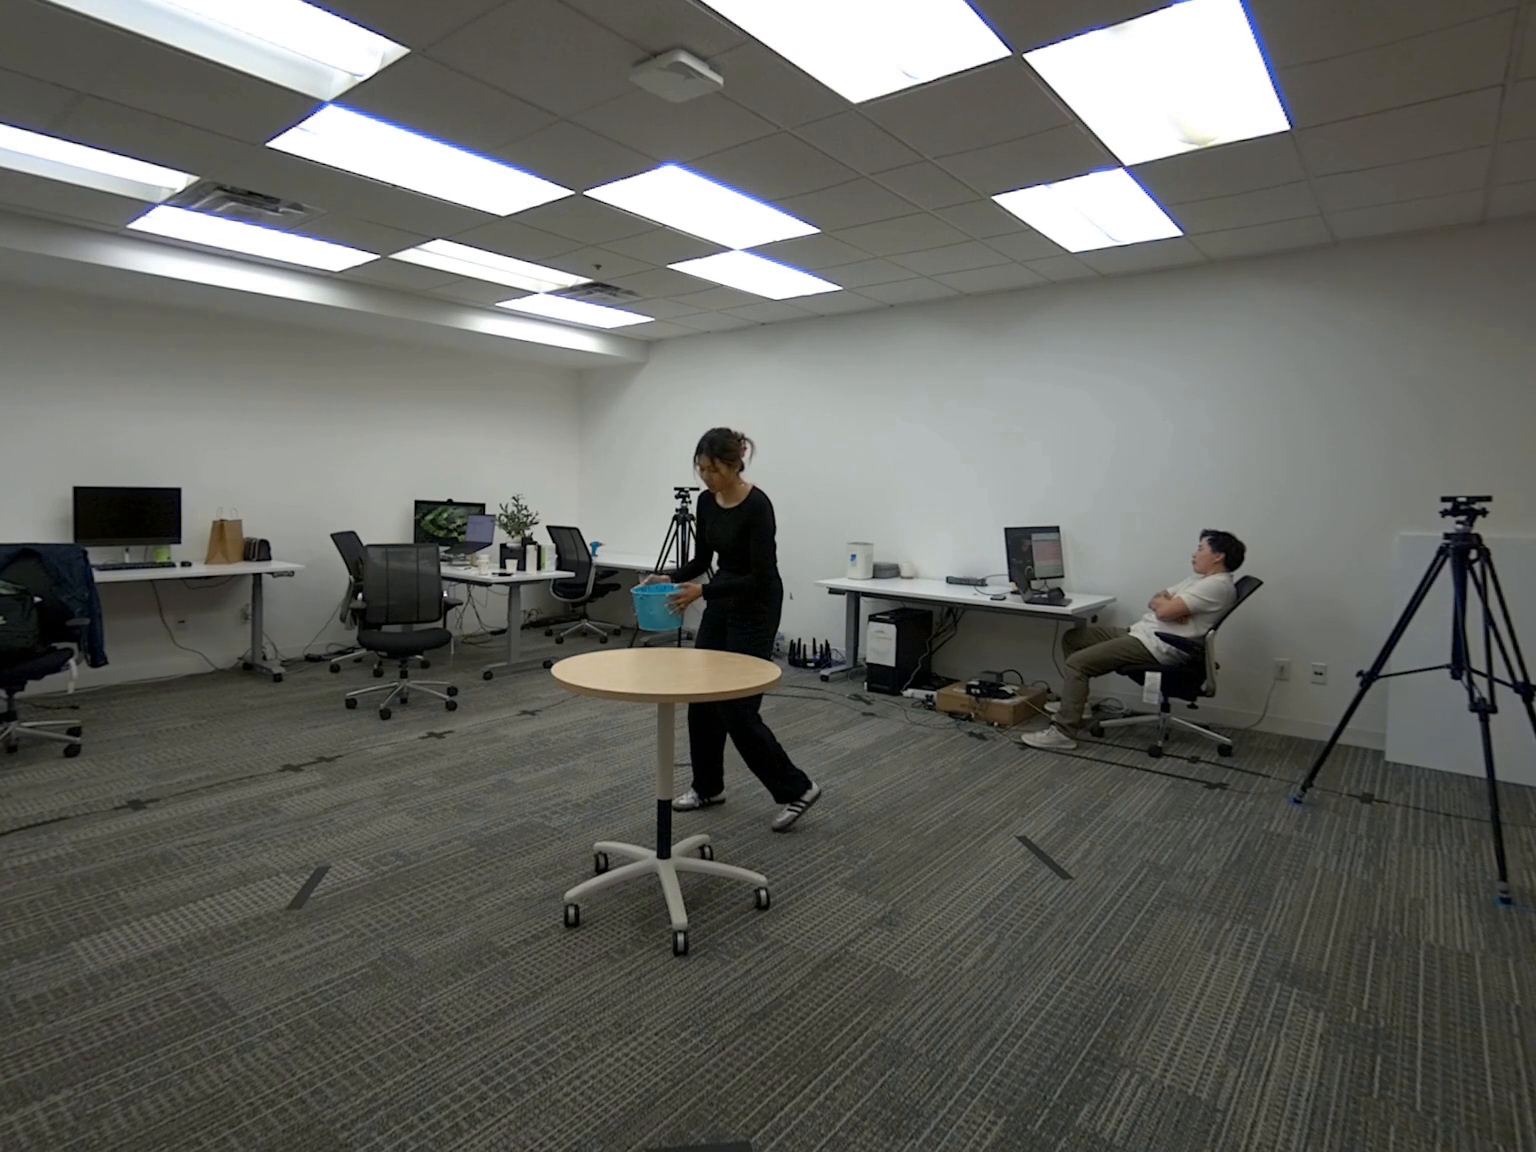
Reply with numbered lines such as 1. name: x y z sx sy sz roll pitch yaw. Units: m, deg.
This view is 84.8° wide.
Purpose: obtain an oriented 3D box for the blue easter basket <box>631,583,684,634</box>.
1. blue easter basket: -0.442 0.125 3.444 0.243 0.155 0.245 -1 7 -2
